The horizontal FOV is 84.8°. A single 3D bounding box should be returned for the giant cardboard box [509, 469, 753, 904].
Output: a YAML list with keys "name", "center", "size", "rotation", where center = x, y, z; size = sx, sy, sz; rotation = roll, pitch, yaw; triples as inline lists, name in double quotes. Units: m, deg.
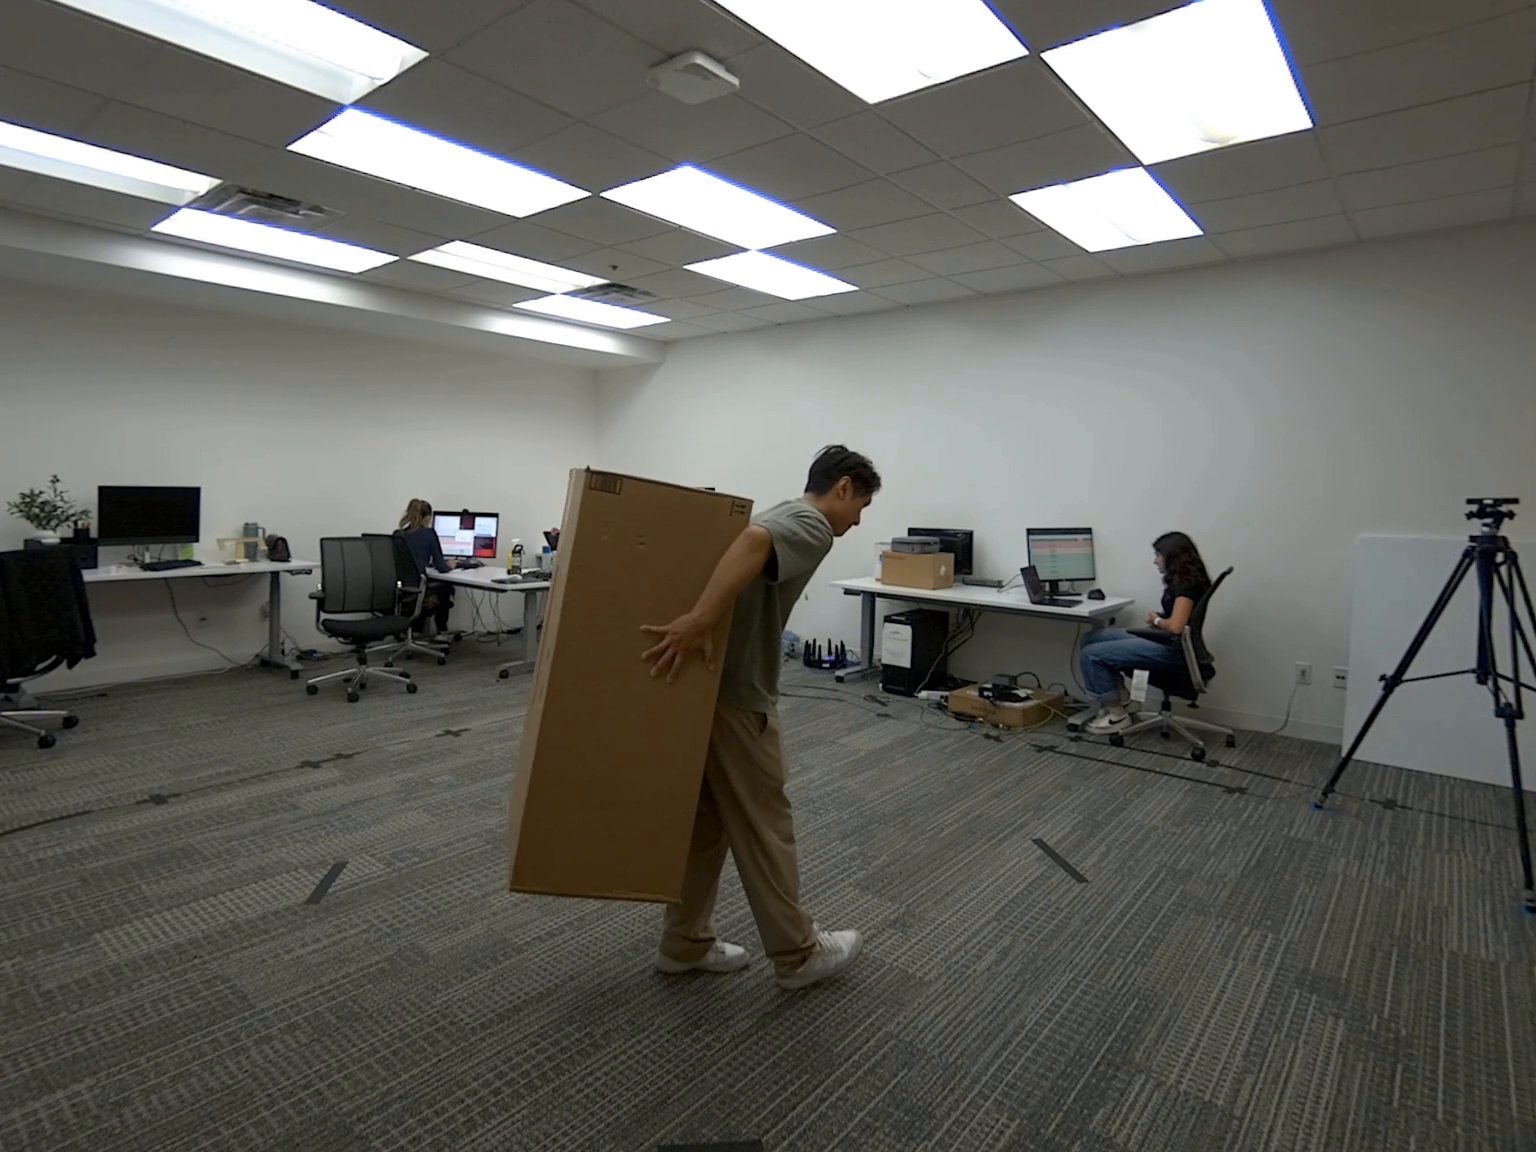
- name: "giant cardboard box"
  center: [-0.411, 0.250, 2.317]
  size: [0.419, 1.025, 0.588]
  rotation: [9, 1, -16]
